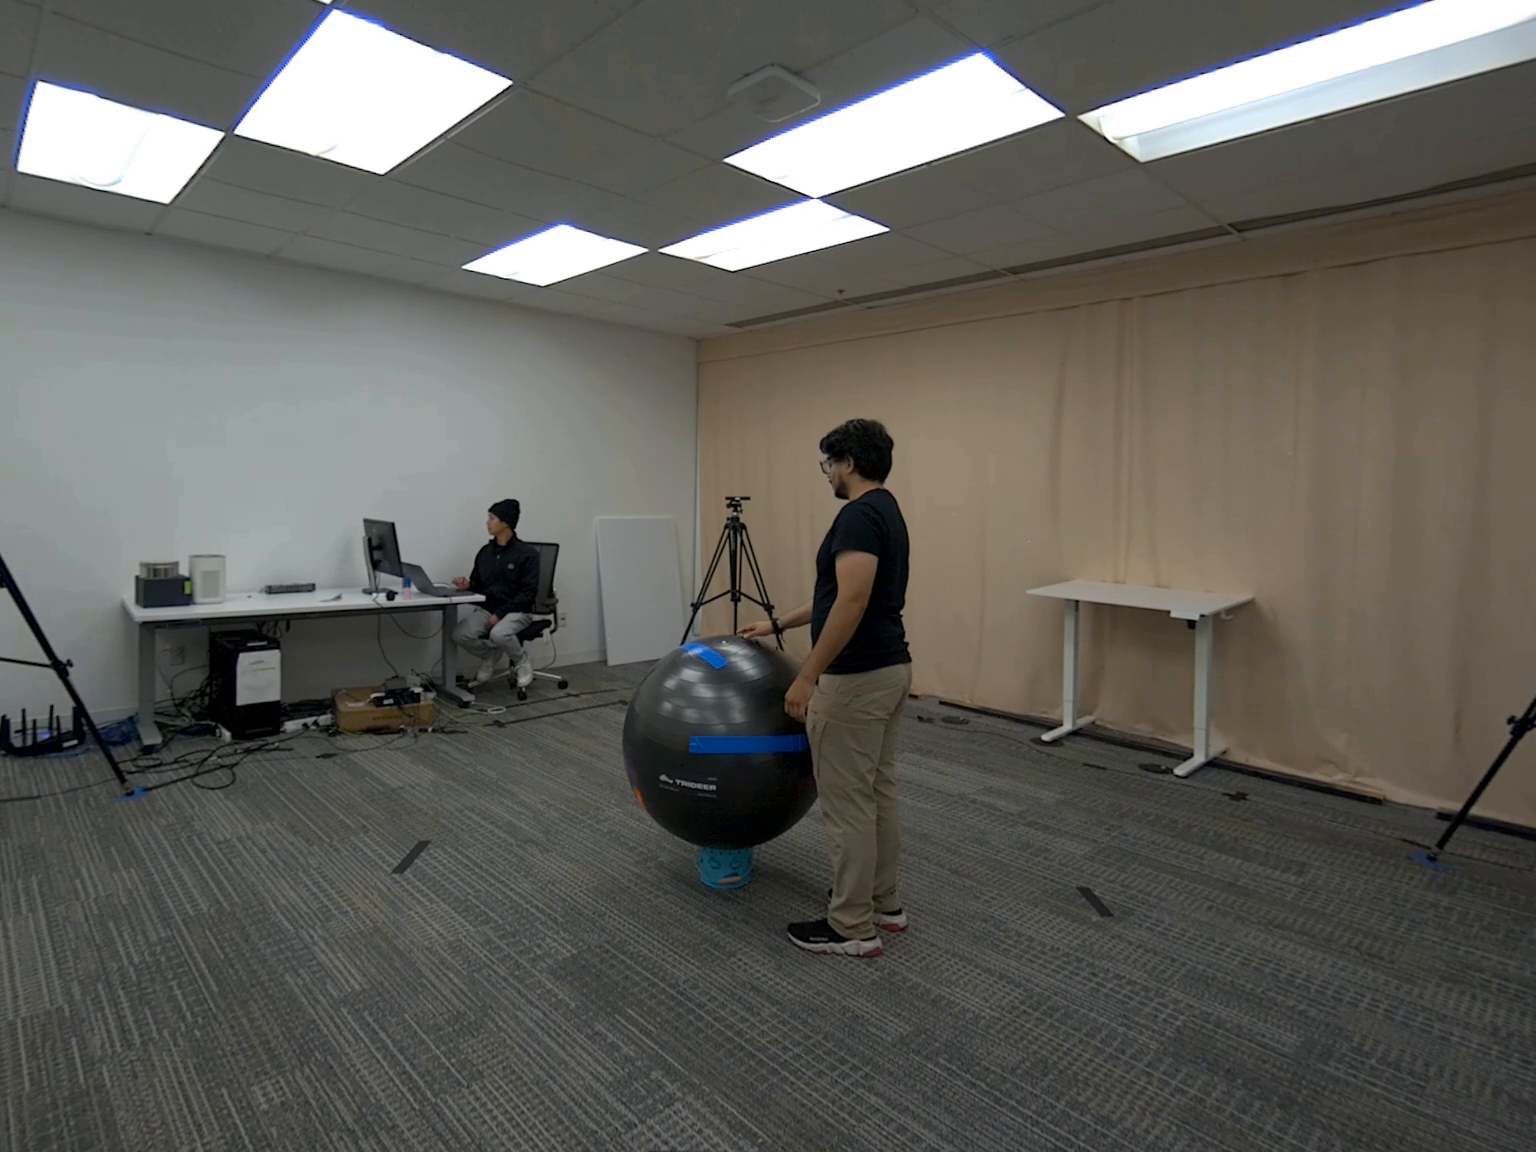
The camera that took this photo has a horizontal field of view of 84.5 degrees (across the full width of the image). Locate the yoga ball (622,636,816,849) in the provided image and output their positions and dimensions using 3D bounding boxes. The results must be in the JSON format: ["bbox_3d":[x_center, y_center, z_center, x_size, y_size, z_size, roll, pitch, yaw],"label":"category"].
[{"bbox_3d":[-0.155,0.602,3.054,0.757,0.756,0.760,1,4,-1],"label":"yoga ball"}]
